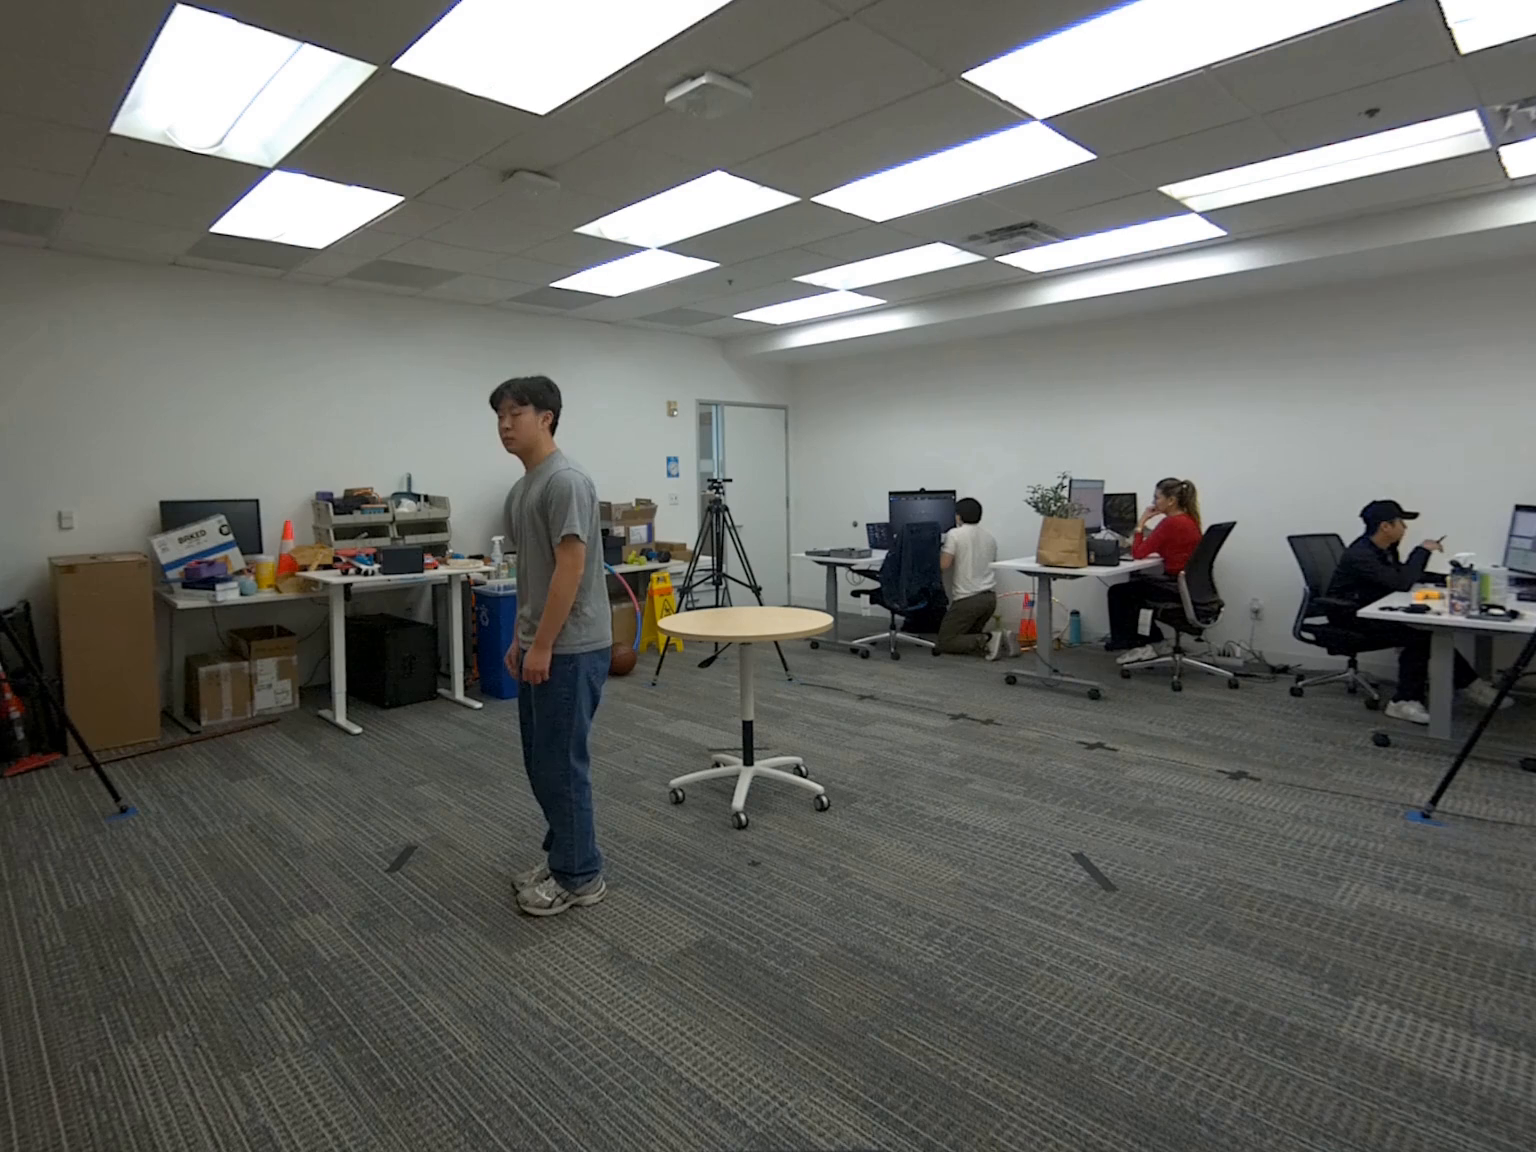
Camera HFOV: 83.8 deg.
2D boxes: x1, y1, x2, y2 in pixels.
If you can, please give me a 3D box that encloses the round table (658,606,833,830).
[{"bbox_3d":[-0.089,0.585,3.749,0.763,0.791,0.767,-1,4,-2],"label":"round table"}]
